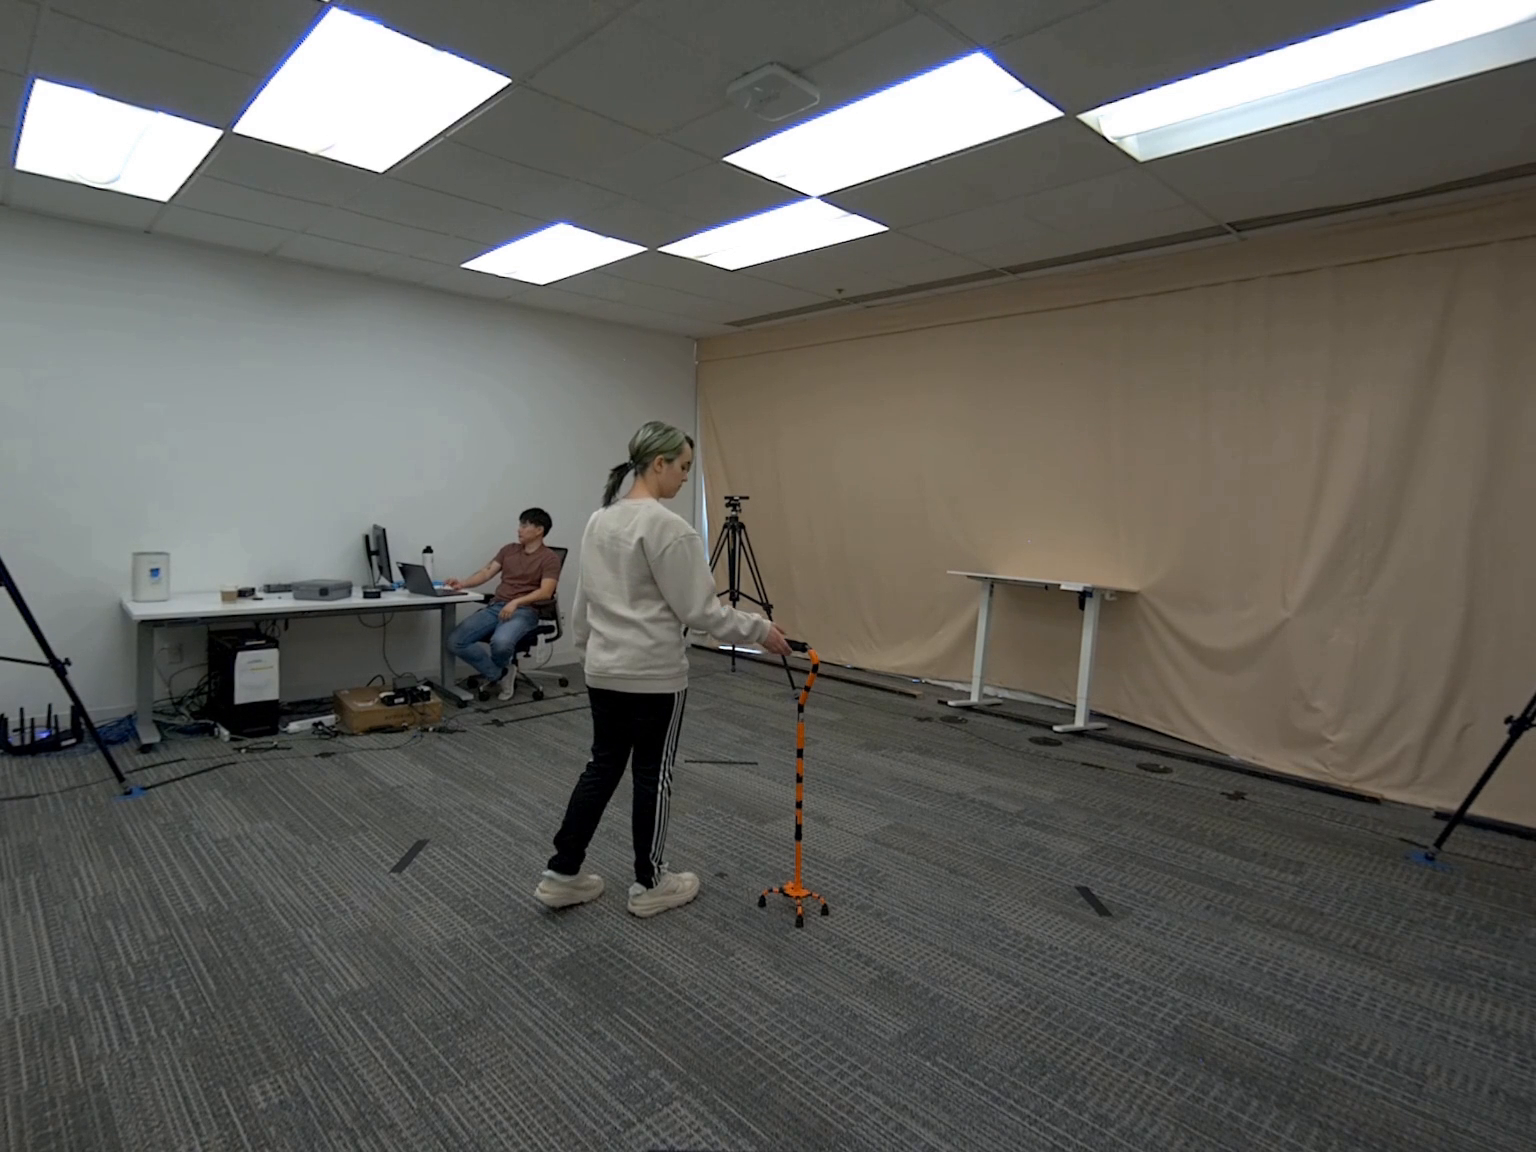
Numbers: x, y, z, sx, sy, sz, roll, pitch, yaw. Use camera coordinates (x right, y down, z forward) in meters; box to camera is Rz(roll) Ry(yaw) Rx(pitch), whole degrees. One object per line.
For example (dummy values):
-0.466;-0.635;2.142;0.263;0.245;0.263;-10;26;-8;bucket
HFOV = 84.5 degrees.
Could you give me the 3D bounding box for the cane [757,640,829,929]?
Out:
0.097;0.682;2.830;0.148;0.906;0.212;1;3;-41;cane
